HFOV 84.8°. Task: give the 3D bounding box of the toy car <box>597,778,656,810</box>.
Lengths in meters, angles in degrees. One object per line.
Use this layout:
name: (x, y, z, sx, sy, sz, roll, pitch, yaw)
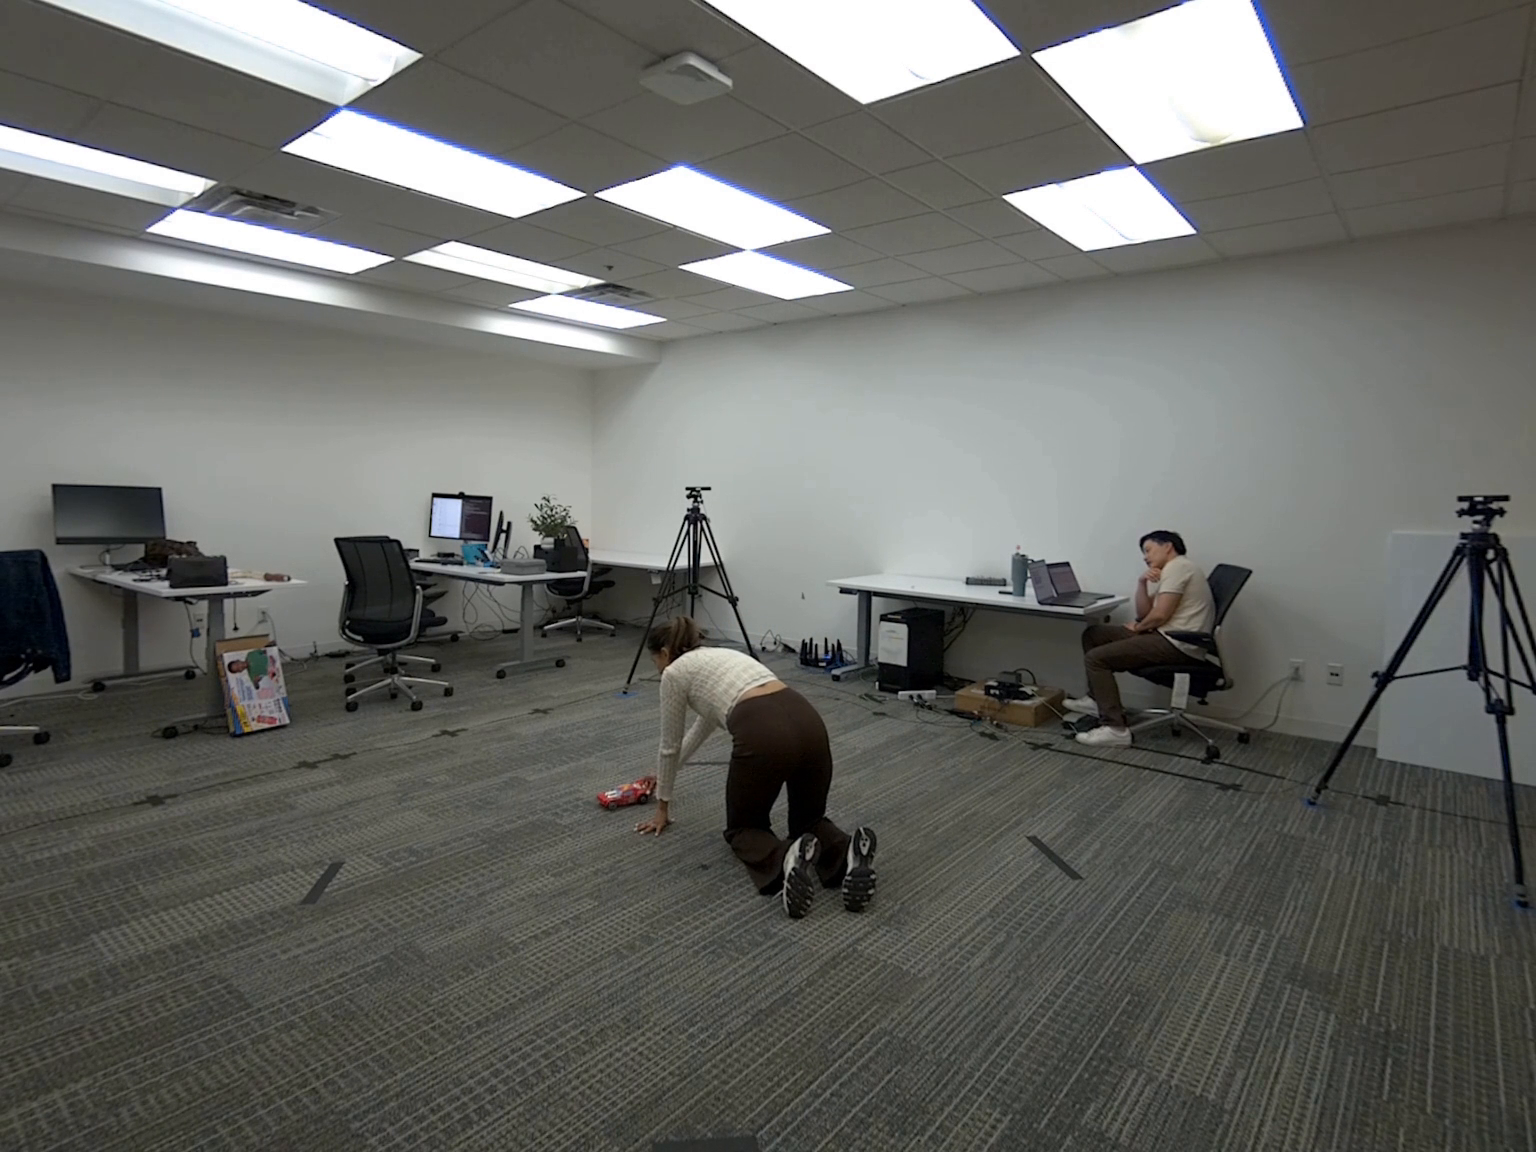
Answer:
toy car: (-0.635, 0.965, 3.748, 0.249, 0.082, 0.134, -16, 13, -30)
